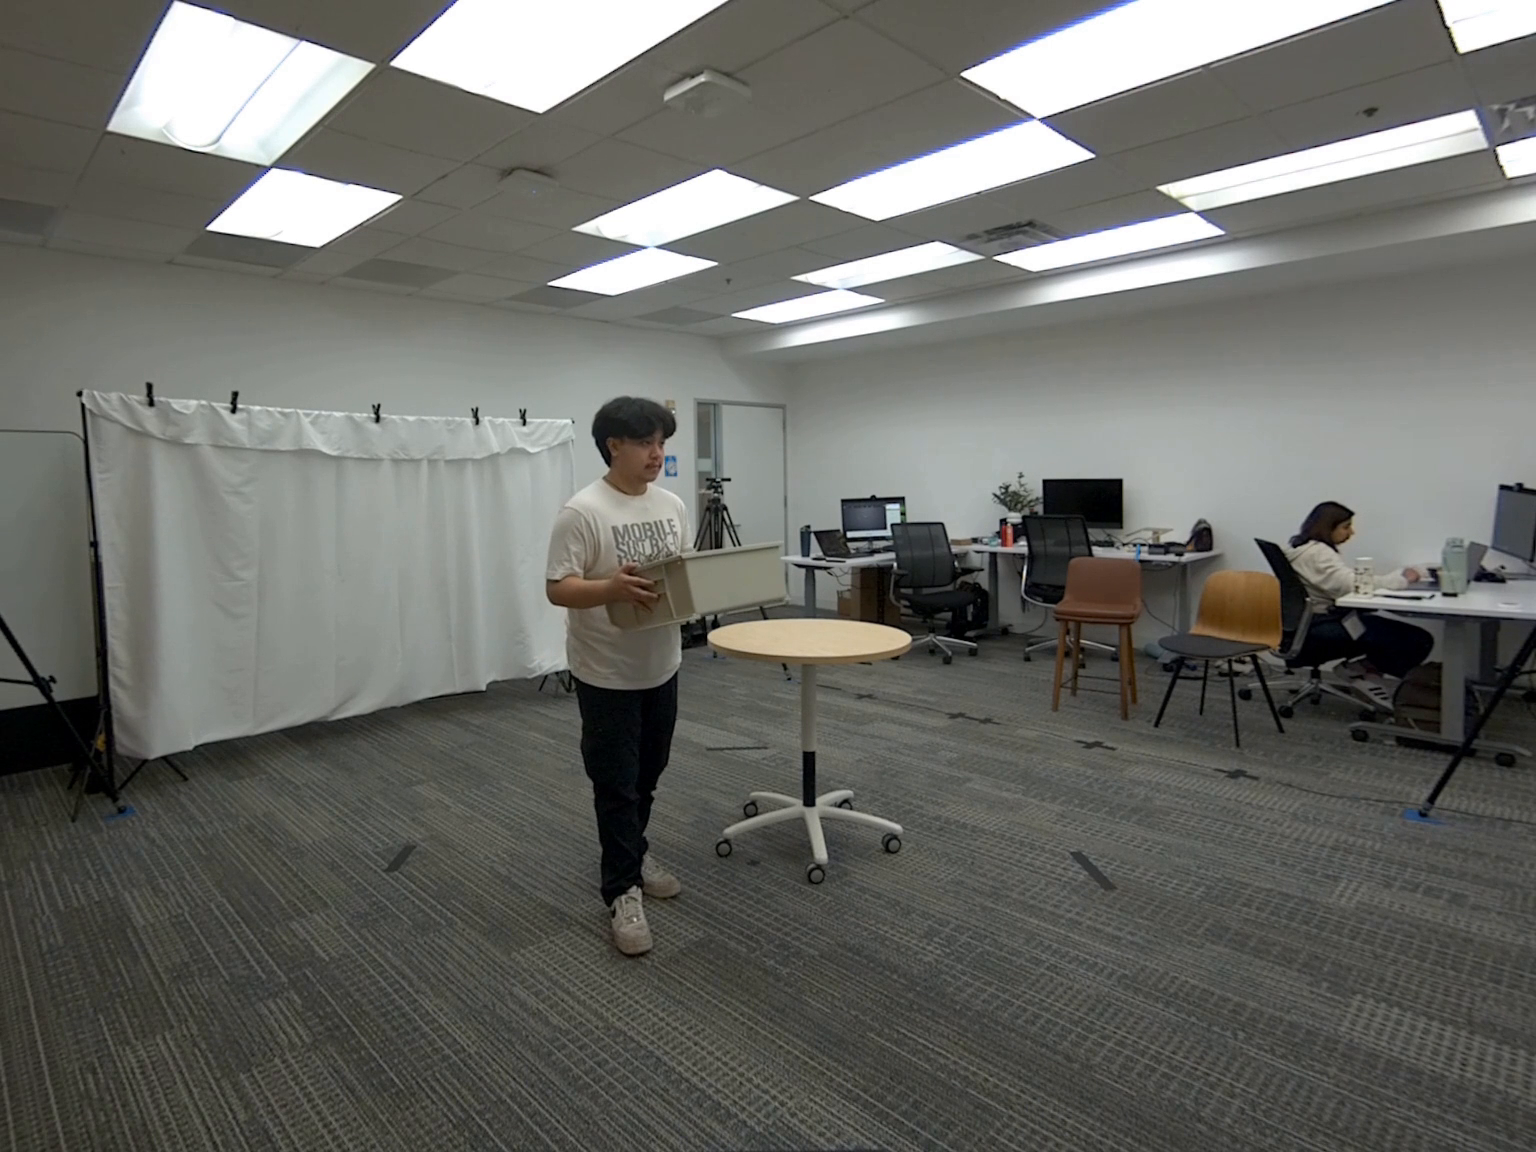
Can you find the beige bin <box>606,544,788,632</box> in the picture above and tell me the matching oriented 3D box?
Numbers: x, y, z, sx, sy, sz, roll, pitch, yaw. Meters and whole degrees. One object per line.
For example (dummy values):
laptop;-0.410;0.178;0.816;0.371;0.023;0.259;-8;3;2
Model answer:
beige bin;-0.206;0.038;2.538;0.386;0.189;0.411;-11;-2;43
